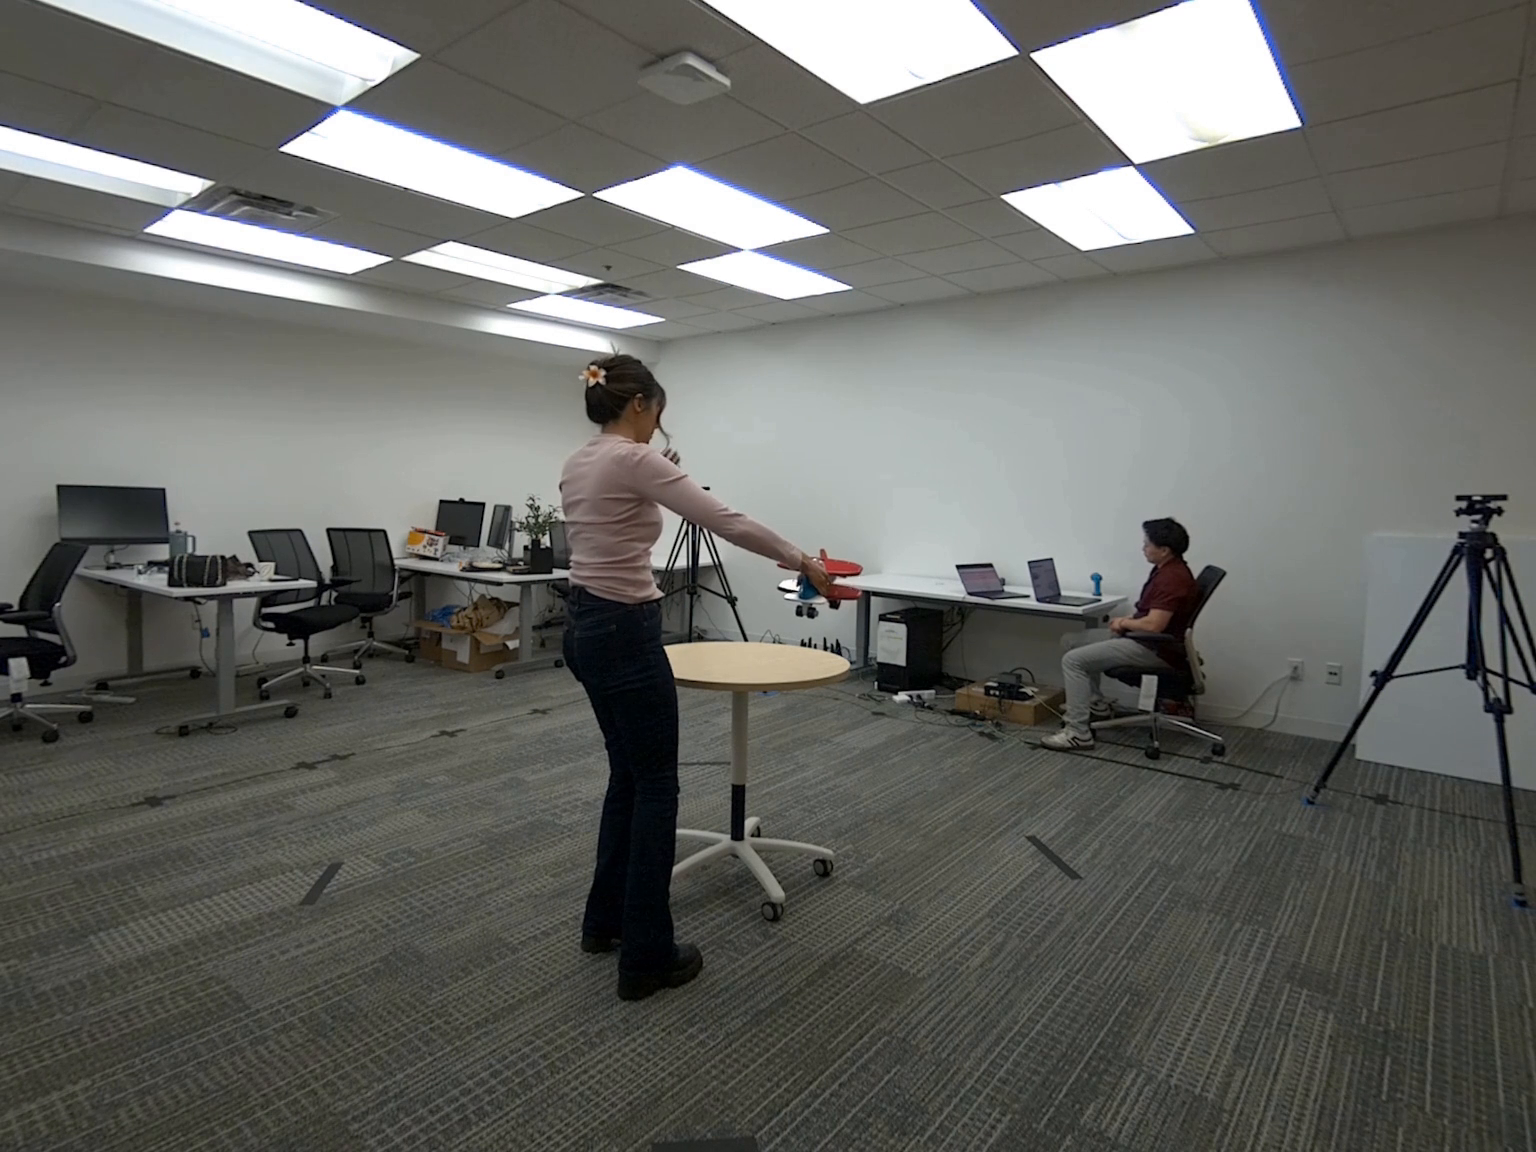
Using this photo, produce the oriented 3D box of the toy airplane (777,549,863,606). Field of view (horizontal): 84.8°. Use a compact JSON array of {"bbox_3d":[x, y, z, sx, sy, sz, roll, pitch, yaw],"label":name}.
[{"bbox_3d":[0.162,0.034,2.505,0.249,0.155,0.263,3,8,-9],"label":"toy airplane"}]
